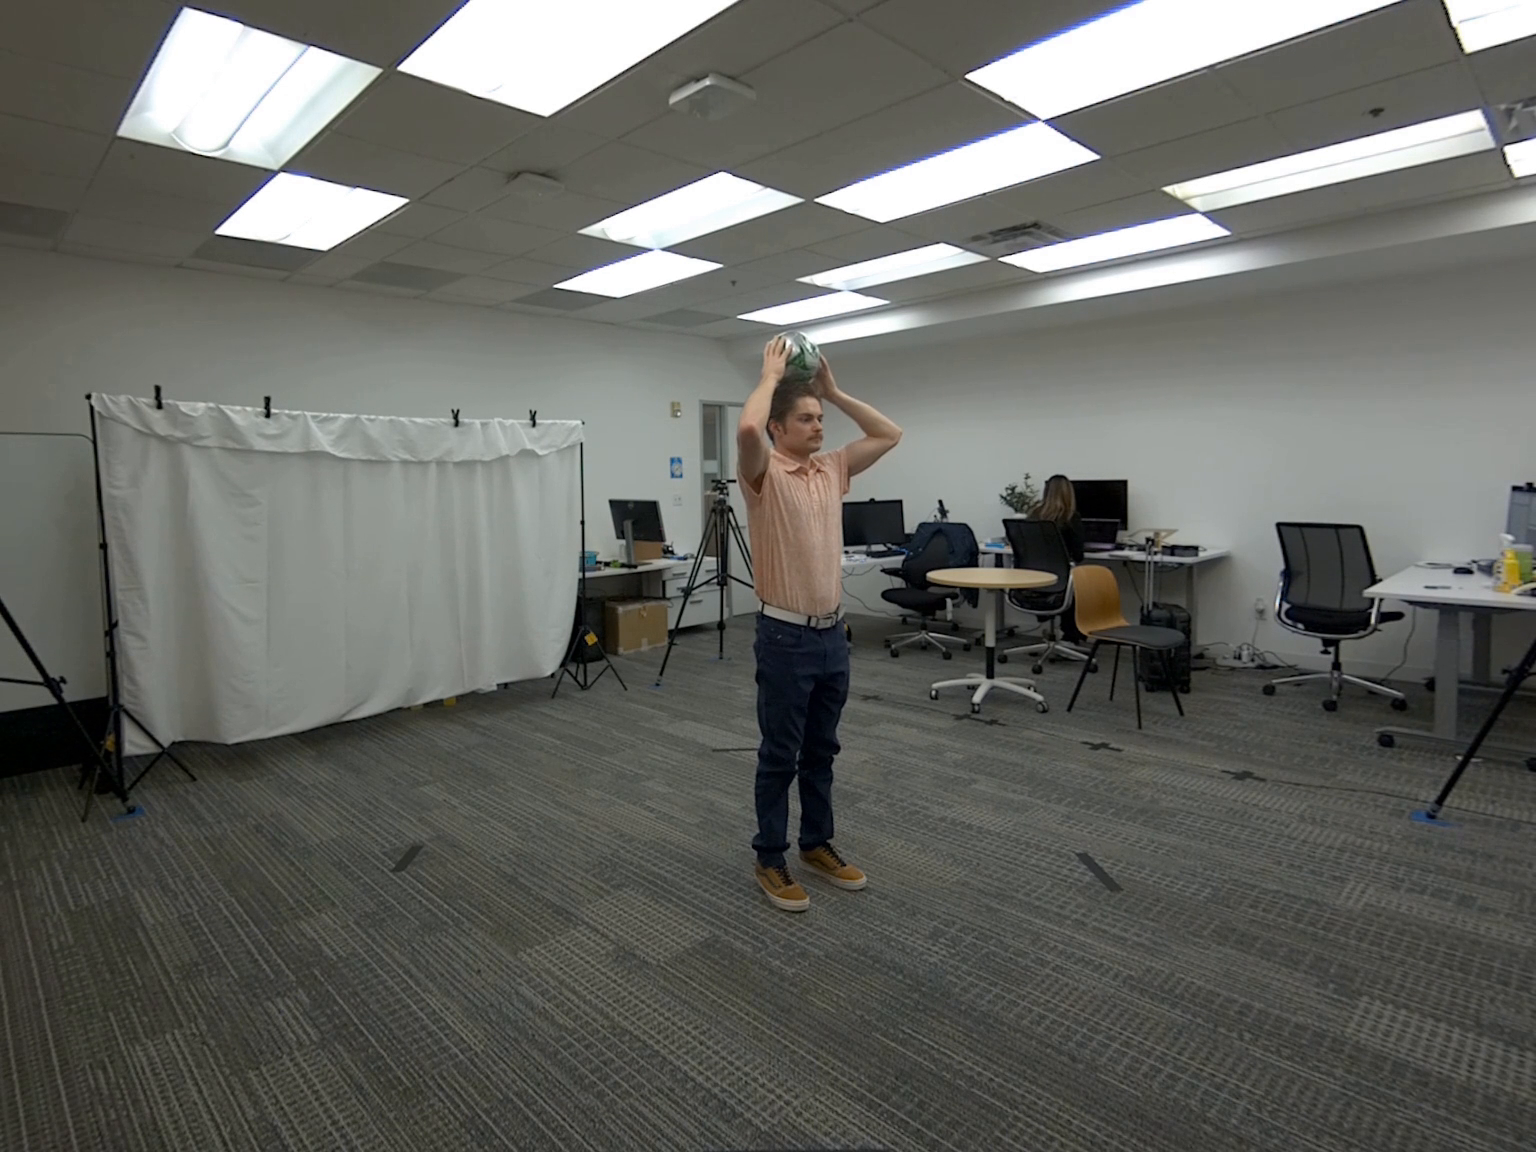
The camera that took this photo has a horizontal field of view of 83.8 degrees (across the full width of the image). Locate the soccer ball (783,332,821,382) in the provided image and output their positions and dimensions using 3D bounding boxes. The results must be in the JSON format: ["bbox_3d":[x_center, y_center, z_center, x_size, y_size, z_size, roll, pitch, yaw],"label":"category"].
[{"bbox_3d":[0.089,-0.722,2.879,0.187,0.187,0.188,-1,5,-2],"label":"soccer ball"}]
